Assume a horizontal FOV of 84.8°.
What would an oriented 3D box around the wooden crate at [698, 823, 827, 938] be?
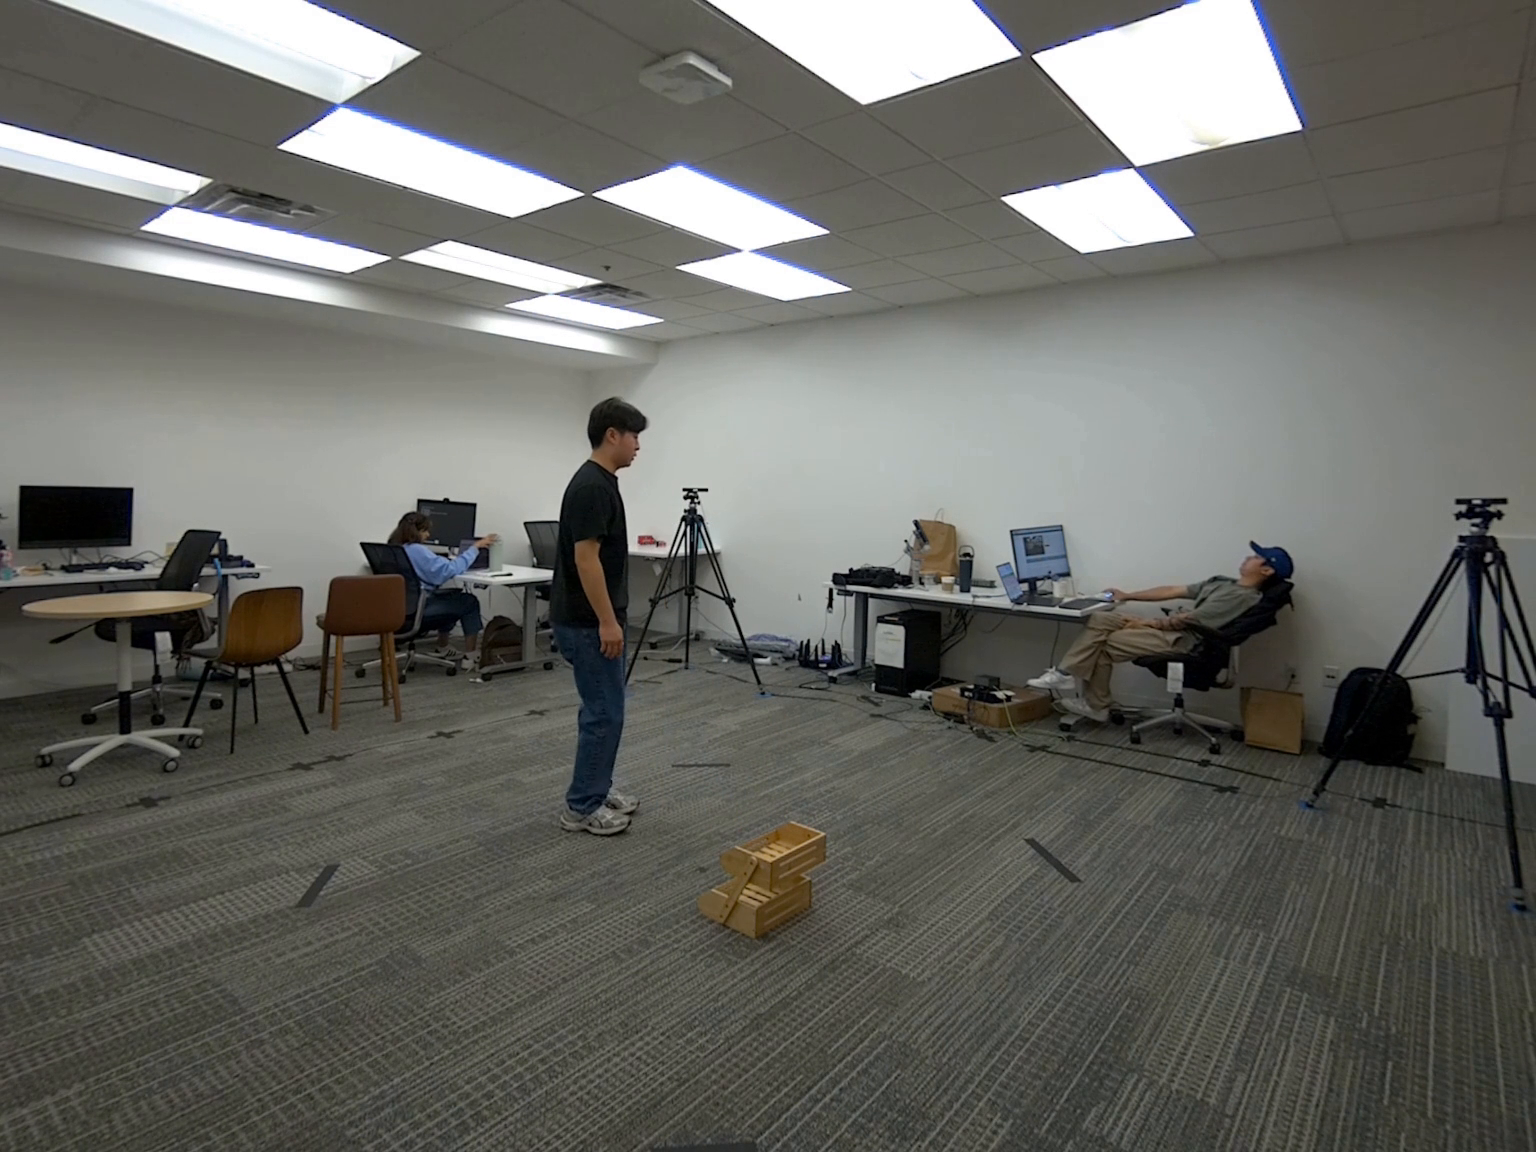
[{"bbox_3d":[-0.028,0.968,2.801,0.312,0.272,0.315,5,6,39],"label":"wooden crate"}]
